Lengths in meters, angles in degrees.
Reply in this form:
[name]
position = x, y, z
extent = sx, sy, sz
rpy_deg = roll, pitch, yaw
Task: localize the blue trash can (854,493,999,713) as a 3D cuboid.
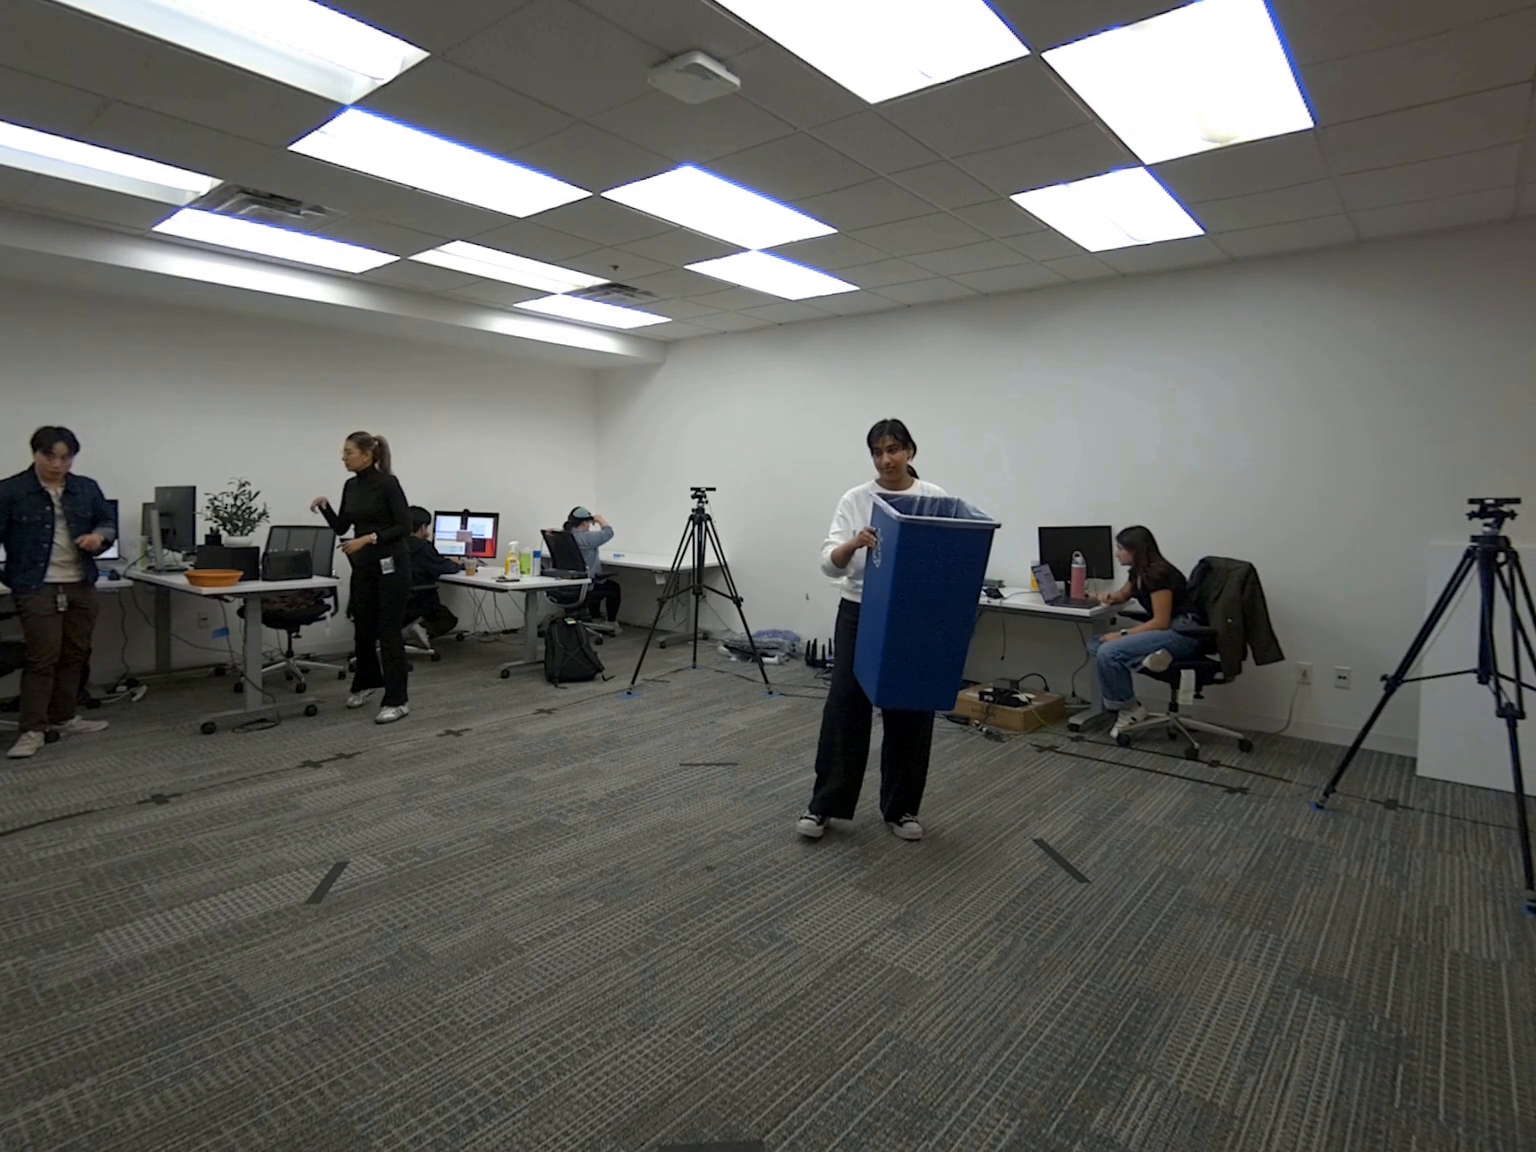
[blue trash can]
position = 0.535, 0.088, 3.063
extent = 0.375, 0.704, 0.382
rpy_deg = 4, 16, -8
